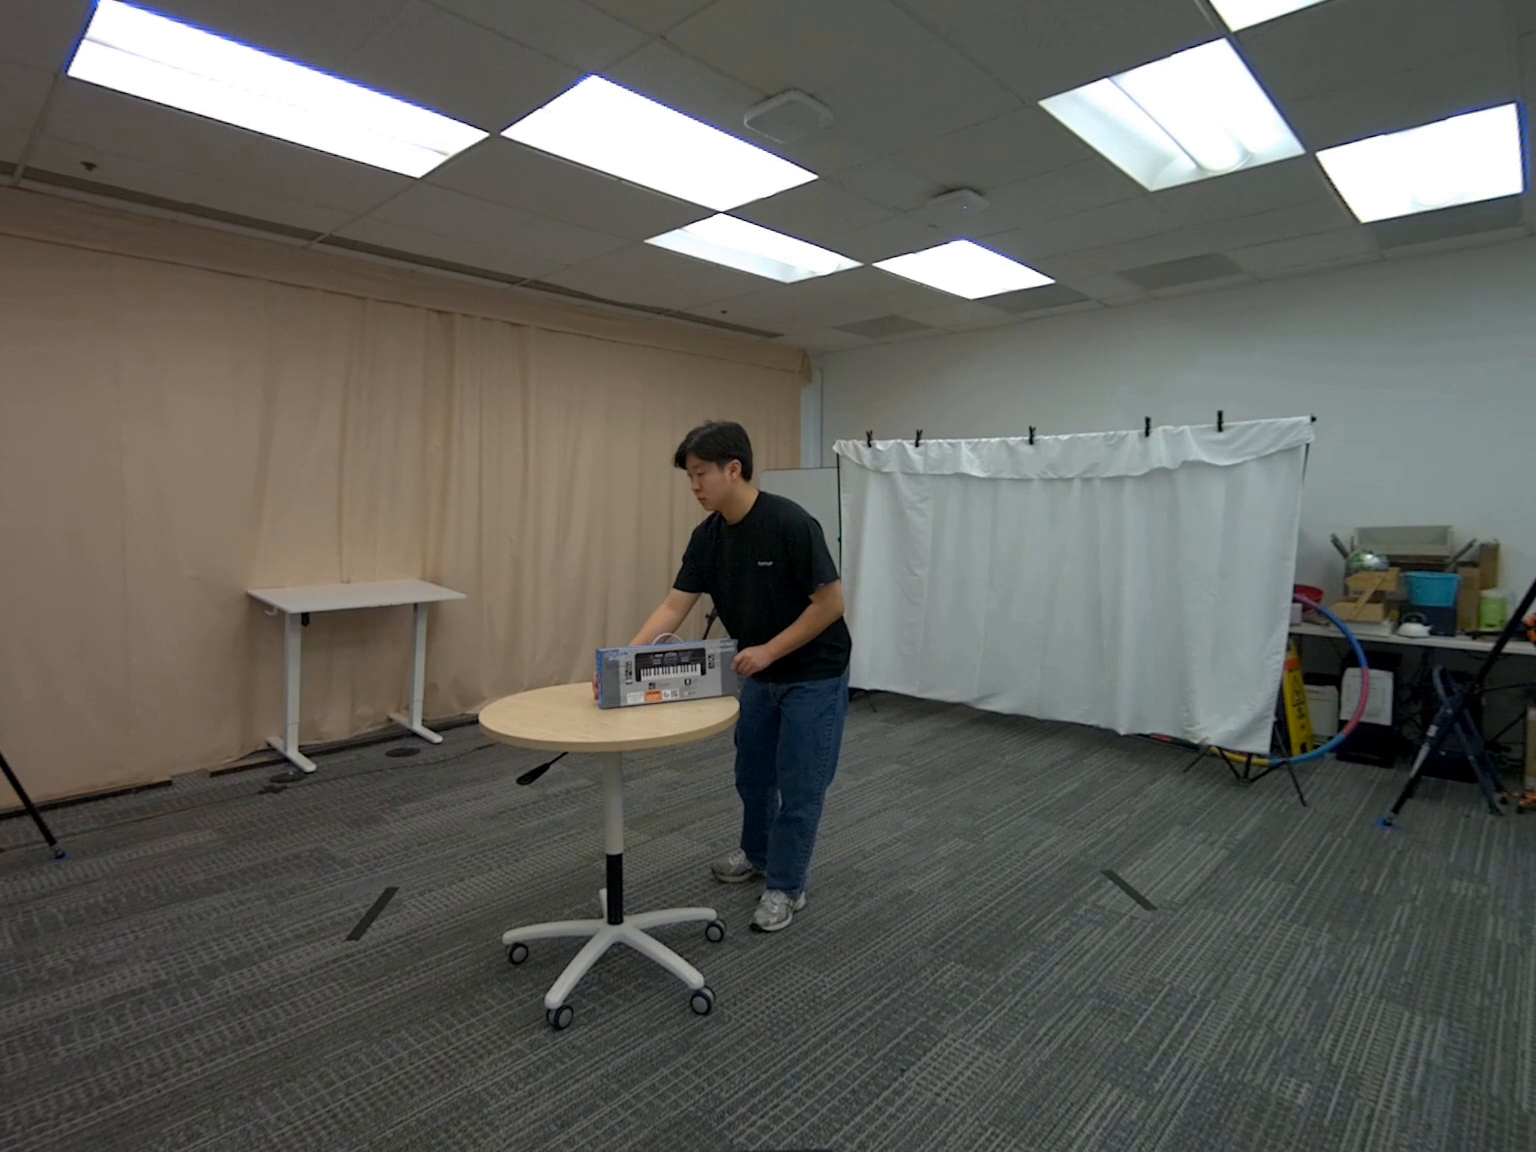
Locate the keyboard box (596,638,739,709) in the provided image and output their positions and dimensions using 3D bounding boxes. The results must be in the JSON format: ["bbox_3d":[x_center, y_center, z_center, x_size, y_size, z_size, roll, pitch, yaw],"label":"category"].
[{"bbox_3d":[-0.304,0.300,2.580,0.428,0.176,0.060,-3,2,-20],"label":"keyboard box"}]
